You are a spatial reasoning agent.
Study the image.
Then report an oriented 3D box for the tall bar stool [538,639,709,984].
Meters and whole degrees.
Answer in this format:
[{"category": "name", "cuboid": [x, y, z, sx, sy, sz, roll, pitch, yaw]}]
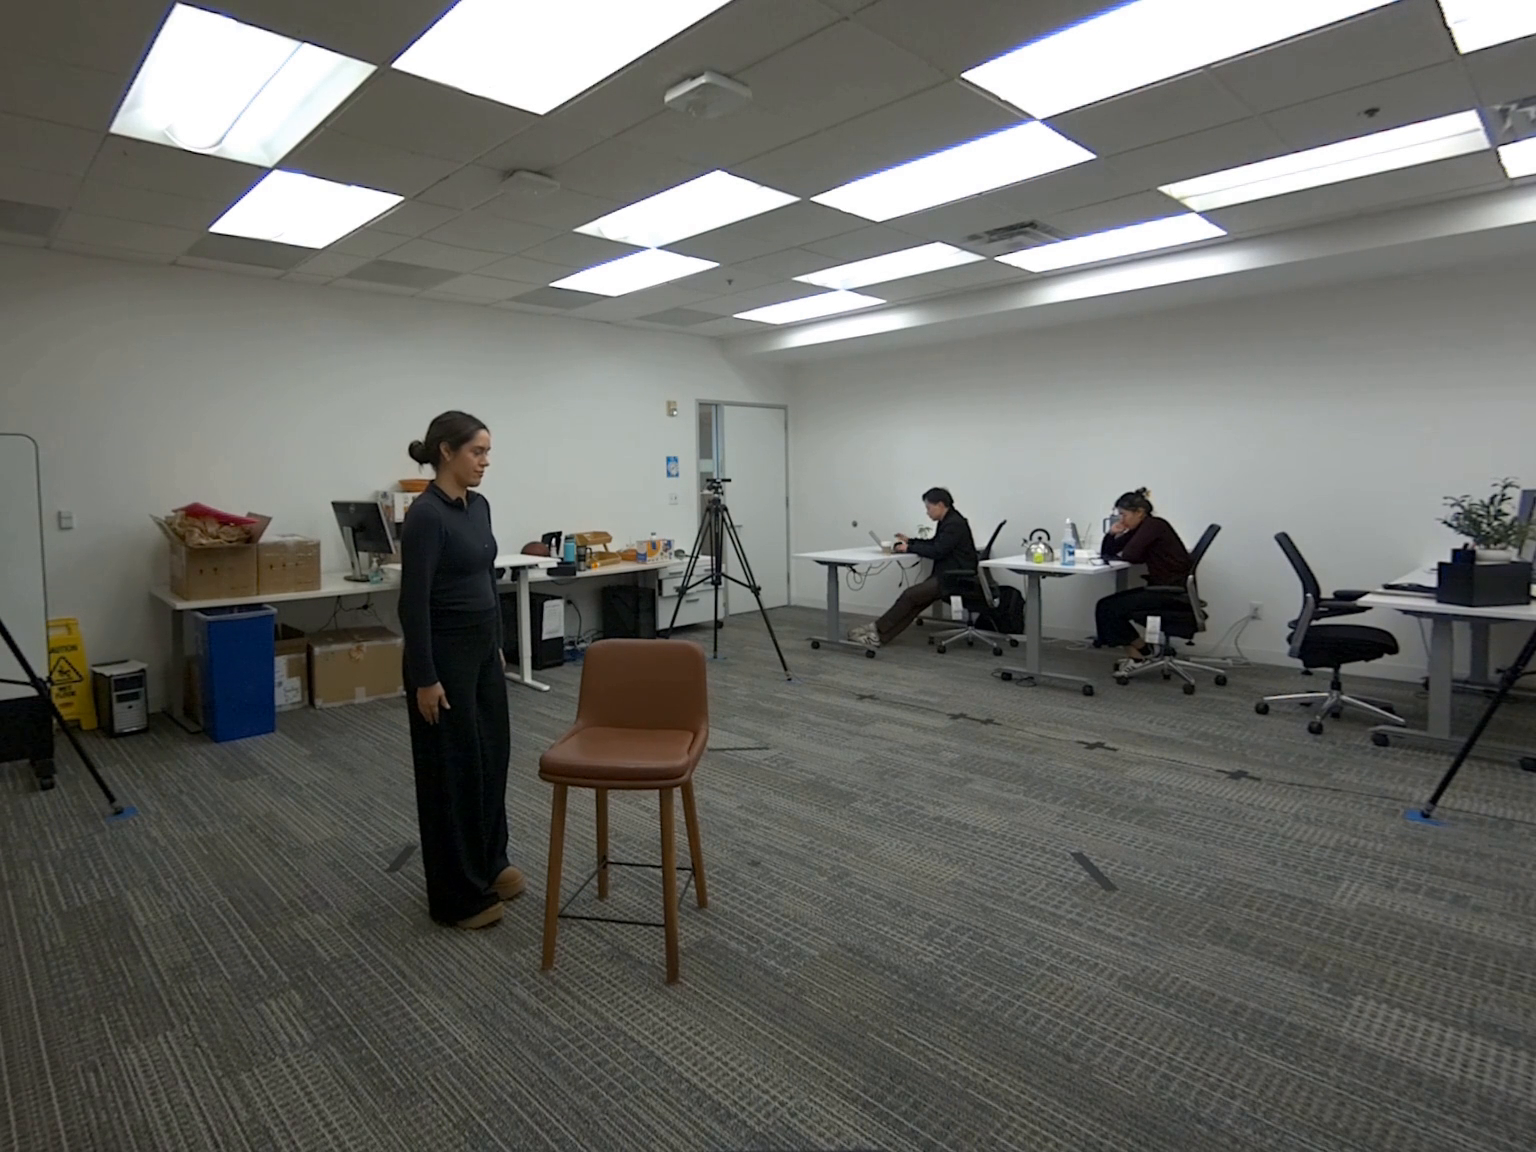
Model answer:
[{"category": "tall bar stool", "cuboid": [-0.423, 0.676, 2.604, 0.462, 0.887, 0.463, 0, 4, 12]}]
